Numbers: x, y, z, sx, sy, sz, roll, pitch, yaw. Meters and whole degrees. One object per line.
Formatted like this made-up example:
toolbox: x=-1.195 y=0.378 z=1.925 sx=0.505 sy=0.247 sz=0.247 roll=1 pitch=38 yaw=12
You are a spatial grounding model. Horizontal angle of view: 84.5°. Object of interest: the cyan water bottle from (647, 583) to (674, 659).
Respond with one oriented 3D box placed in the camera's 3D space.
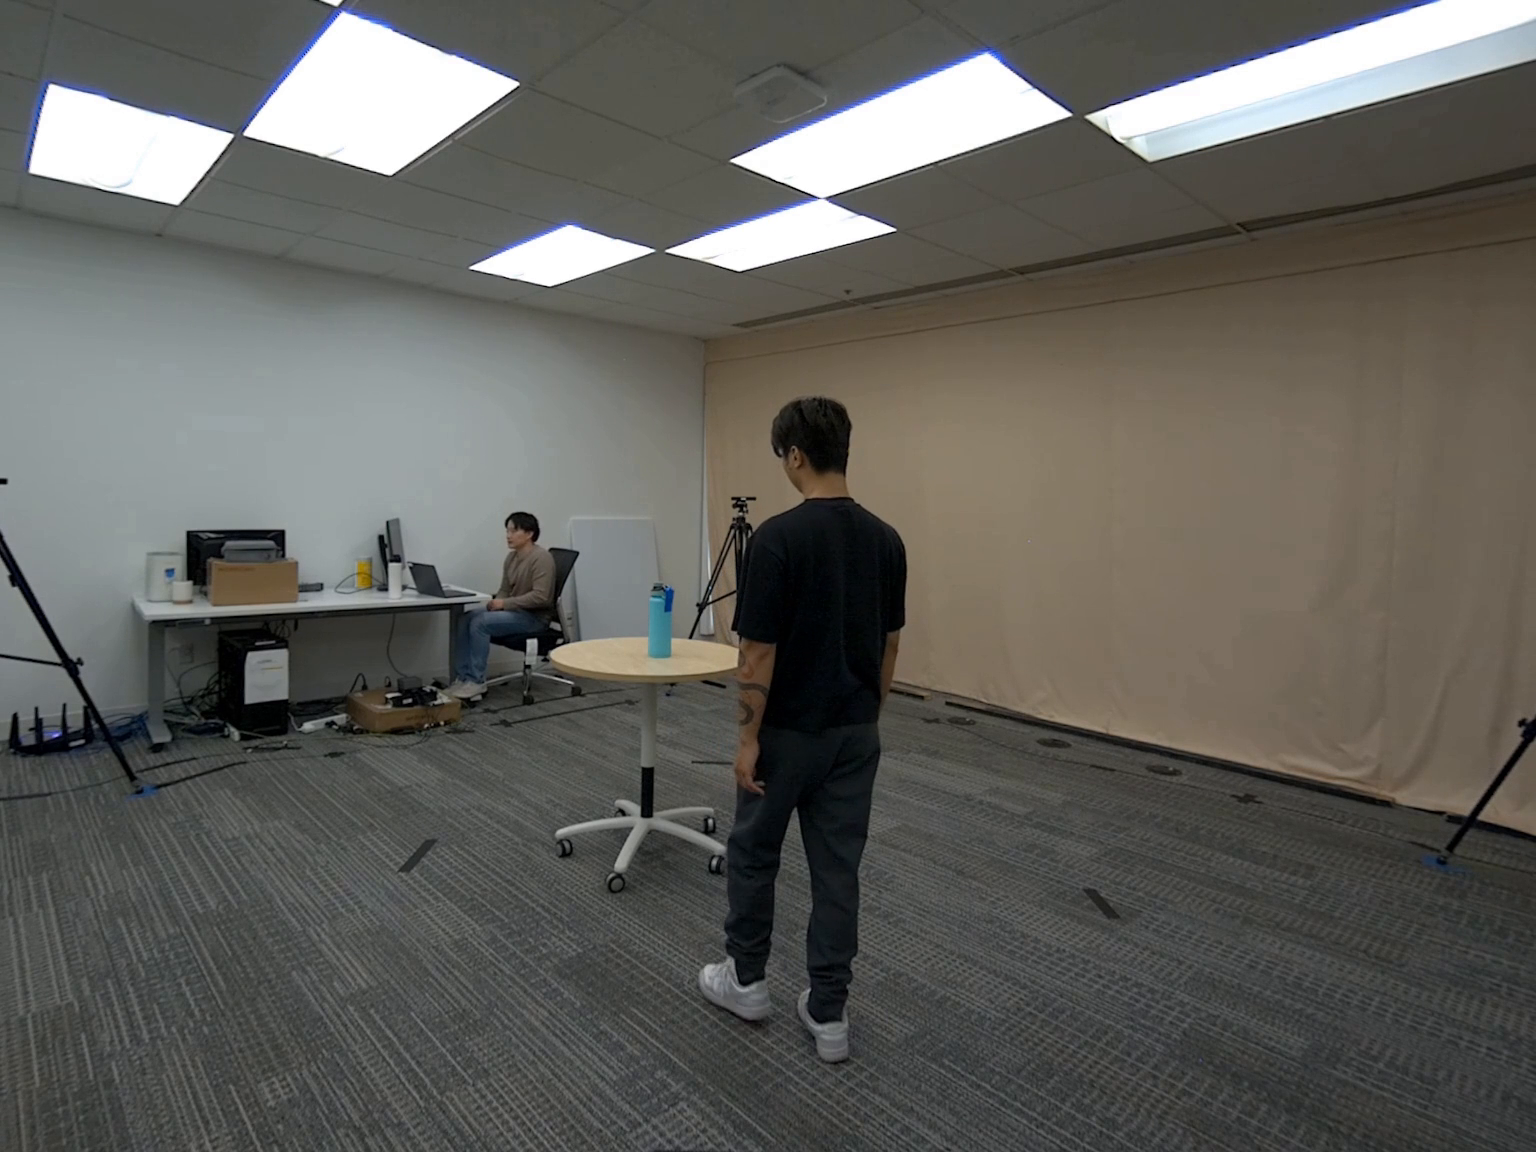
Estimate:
cyan water bottle: x=-0.421 y=0.170 z=3.230 sx=0.092 sy=0.282 sz=0.093 roll=4 pitch=5 yaw=-2
